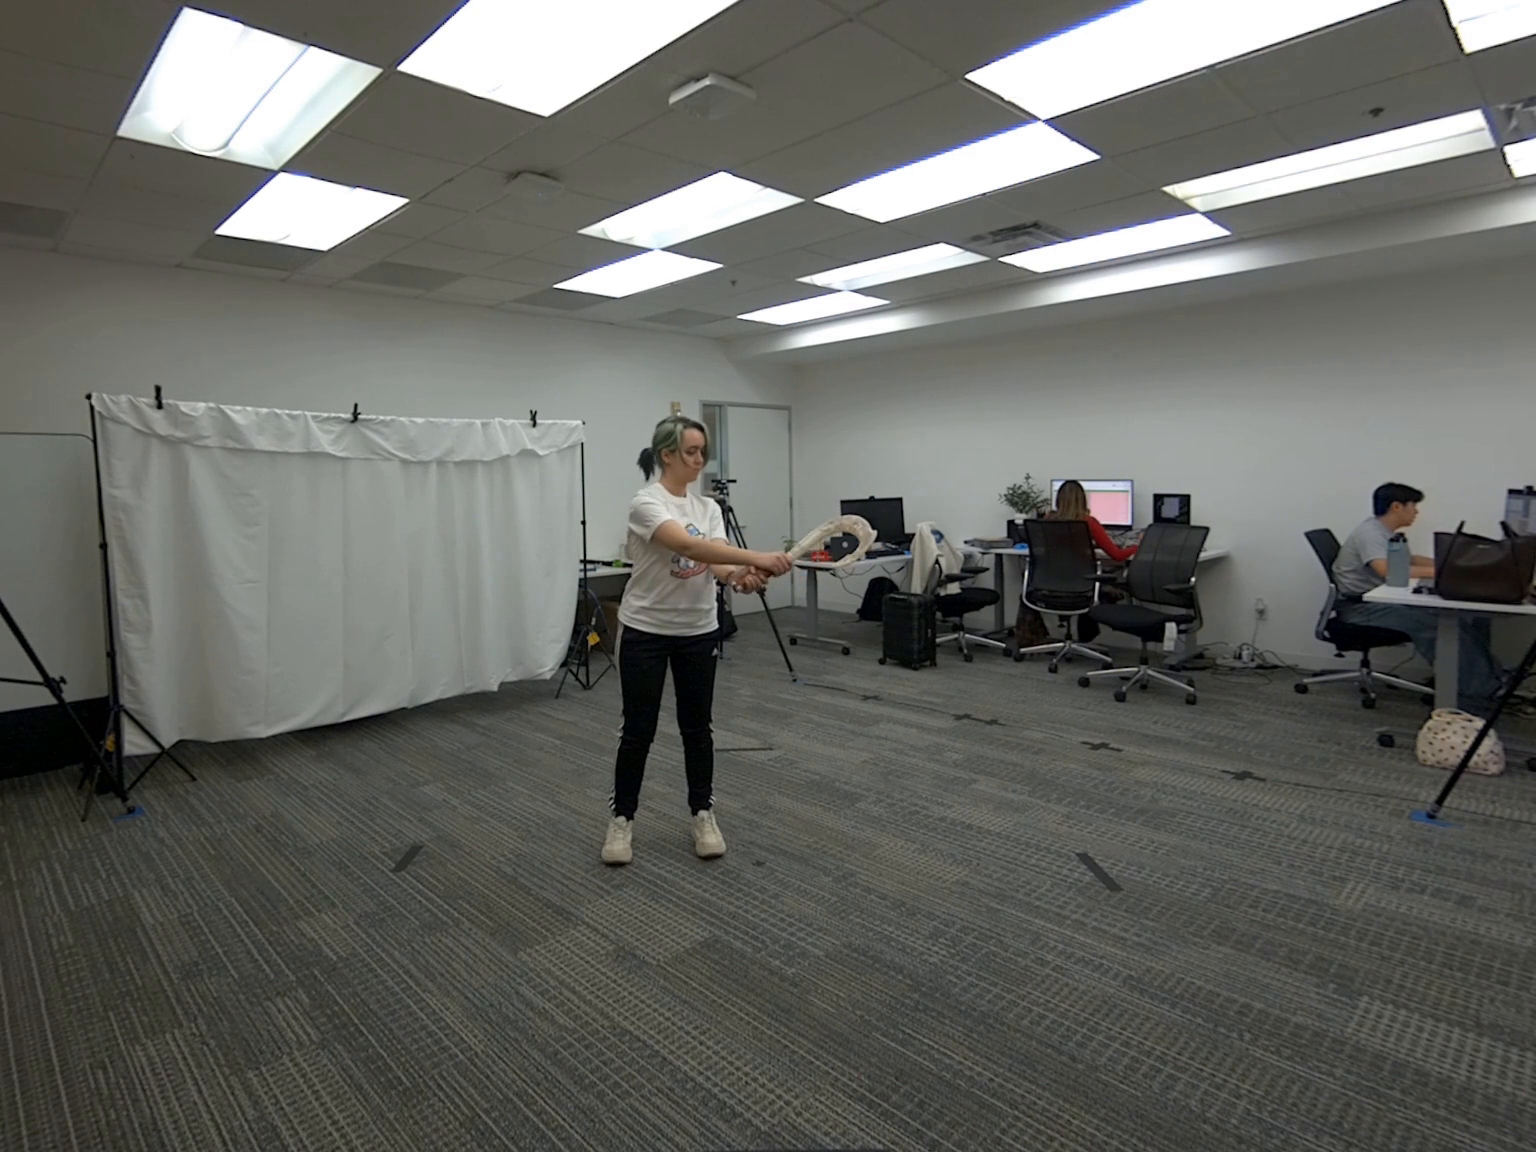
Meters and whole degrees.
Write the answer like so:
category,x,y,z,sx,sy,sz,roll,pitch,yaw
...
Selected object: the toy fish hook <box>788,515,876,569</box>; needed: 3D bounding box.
category,x,y,z,sx,sy,sz,roll,pitch,yaw
toy fish hook,0.118,-0.046,2.828,0.506,0.046,0.233,-29,38,-3
